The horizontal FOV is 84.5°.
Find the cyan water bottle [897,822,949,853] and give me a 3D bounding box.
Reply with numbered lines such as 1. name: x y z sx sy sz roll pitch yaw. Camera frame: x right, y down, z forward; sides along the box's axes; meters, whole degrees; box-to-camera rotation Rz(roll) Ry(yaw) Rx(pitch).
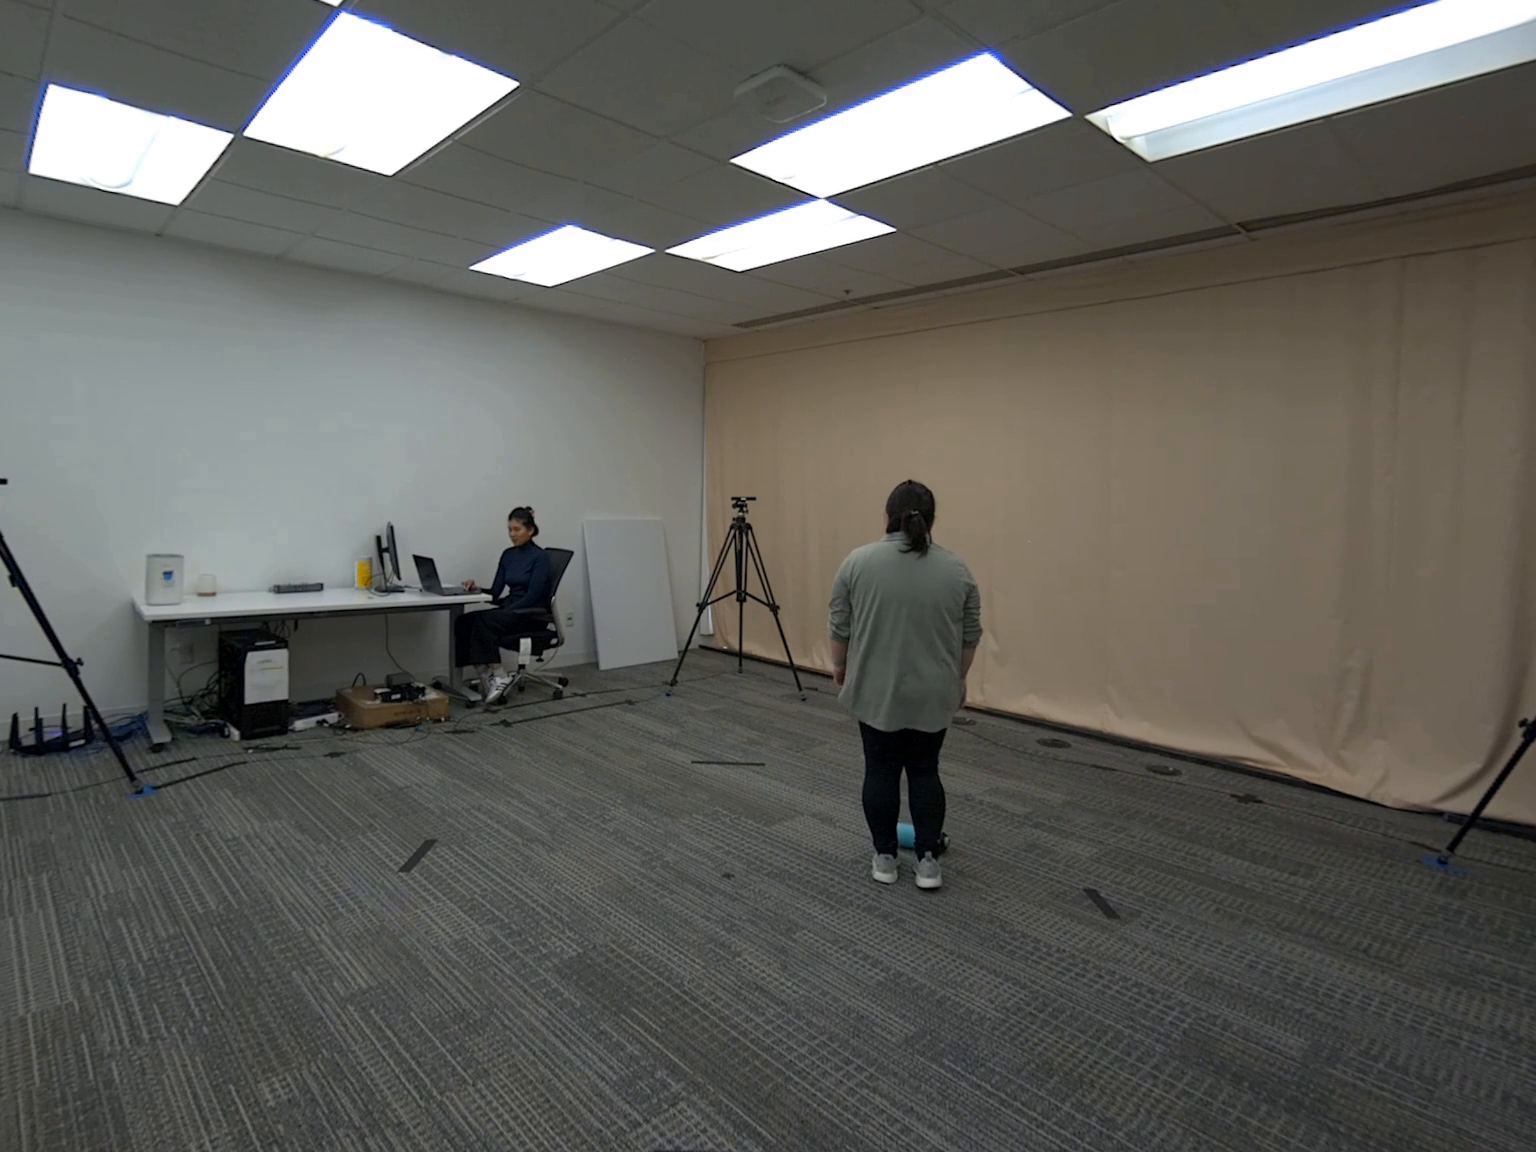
1. cyan water bottle: 0.584 1.055 3.402 0.288 0.092 0.091 3 4 20
